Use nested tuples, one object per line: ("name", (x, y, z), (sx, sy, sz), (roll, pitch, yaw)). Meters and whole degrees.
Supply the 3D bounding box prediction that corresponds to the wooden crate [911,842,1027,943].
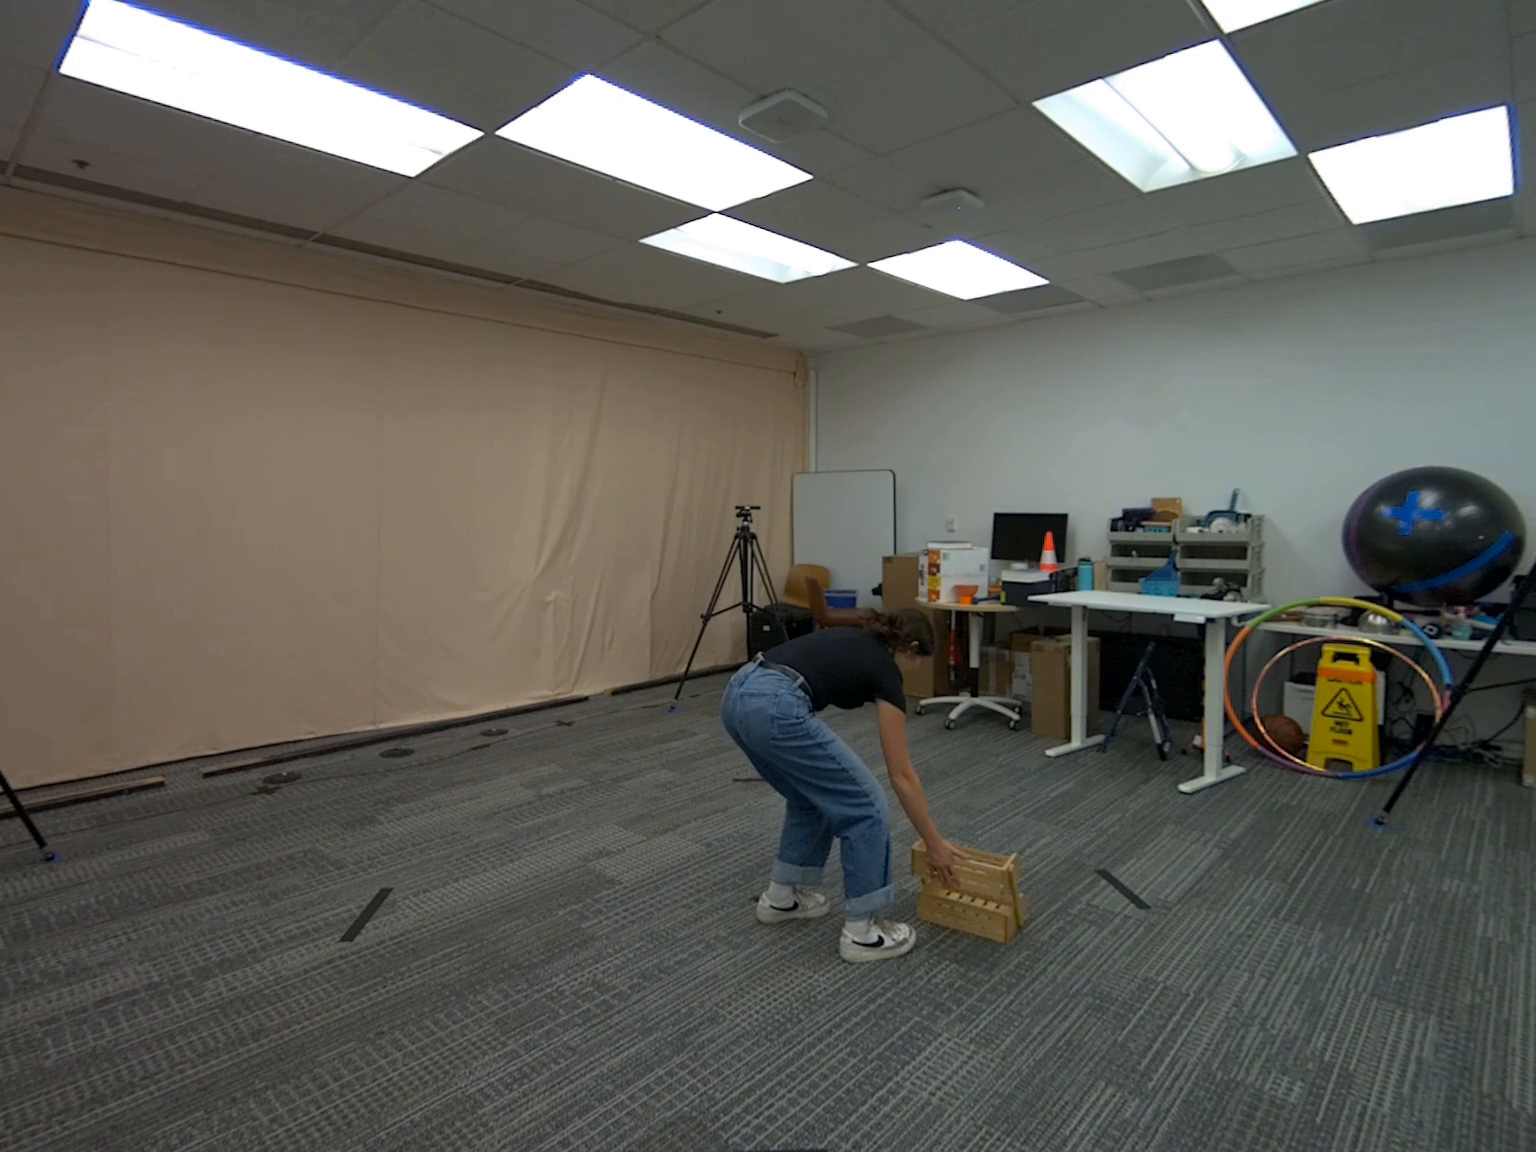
("wooden crate", (0.689, 1.025, 2.831), (0.334, 0.272, 0.294), (2, 6, 31))
